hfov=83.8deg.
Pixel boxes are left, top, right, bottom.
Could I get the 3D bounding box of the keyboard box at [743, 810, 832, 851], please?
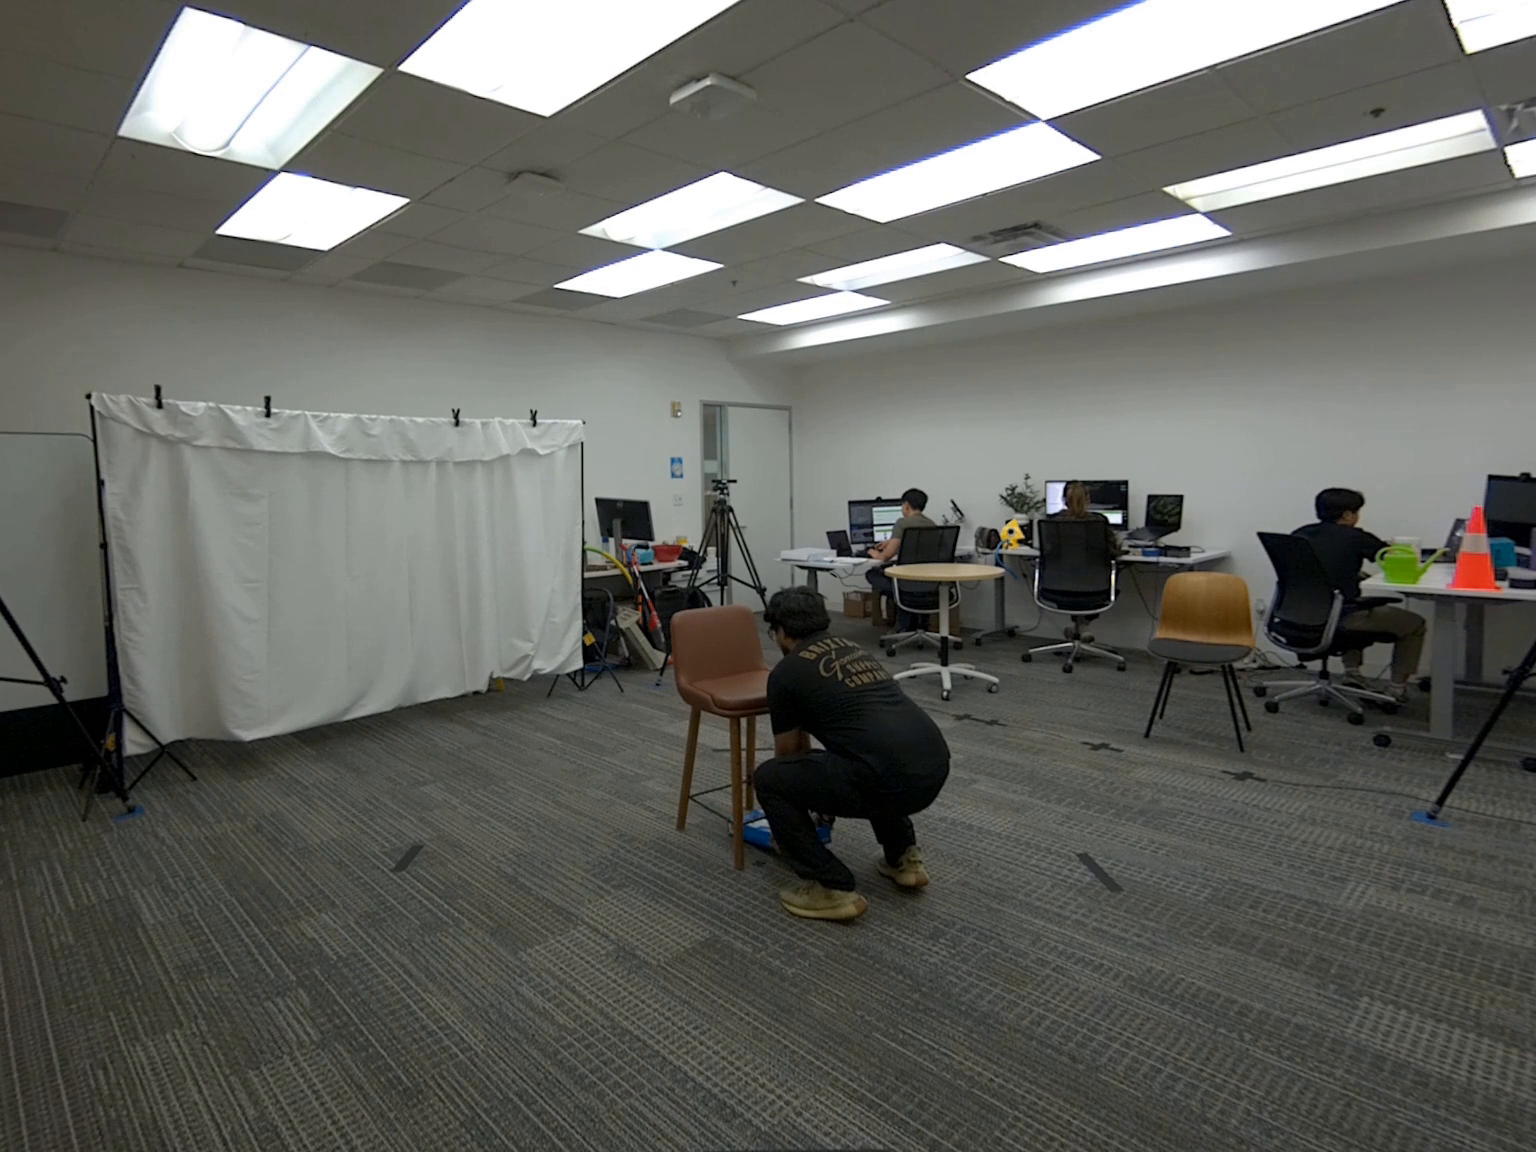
[{"bbox_3d":[0.040,0.984,3.237,0.171,0.059,0.447,-4,1,-34],"label":"keyboard box"}]
